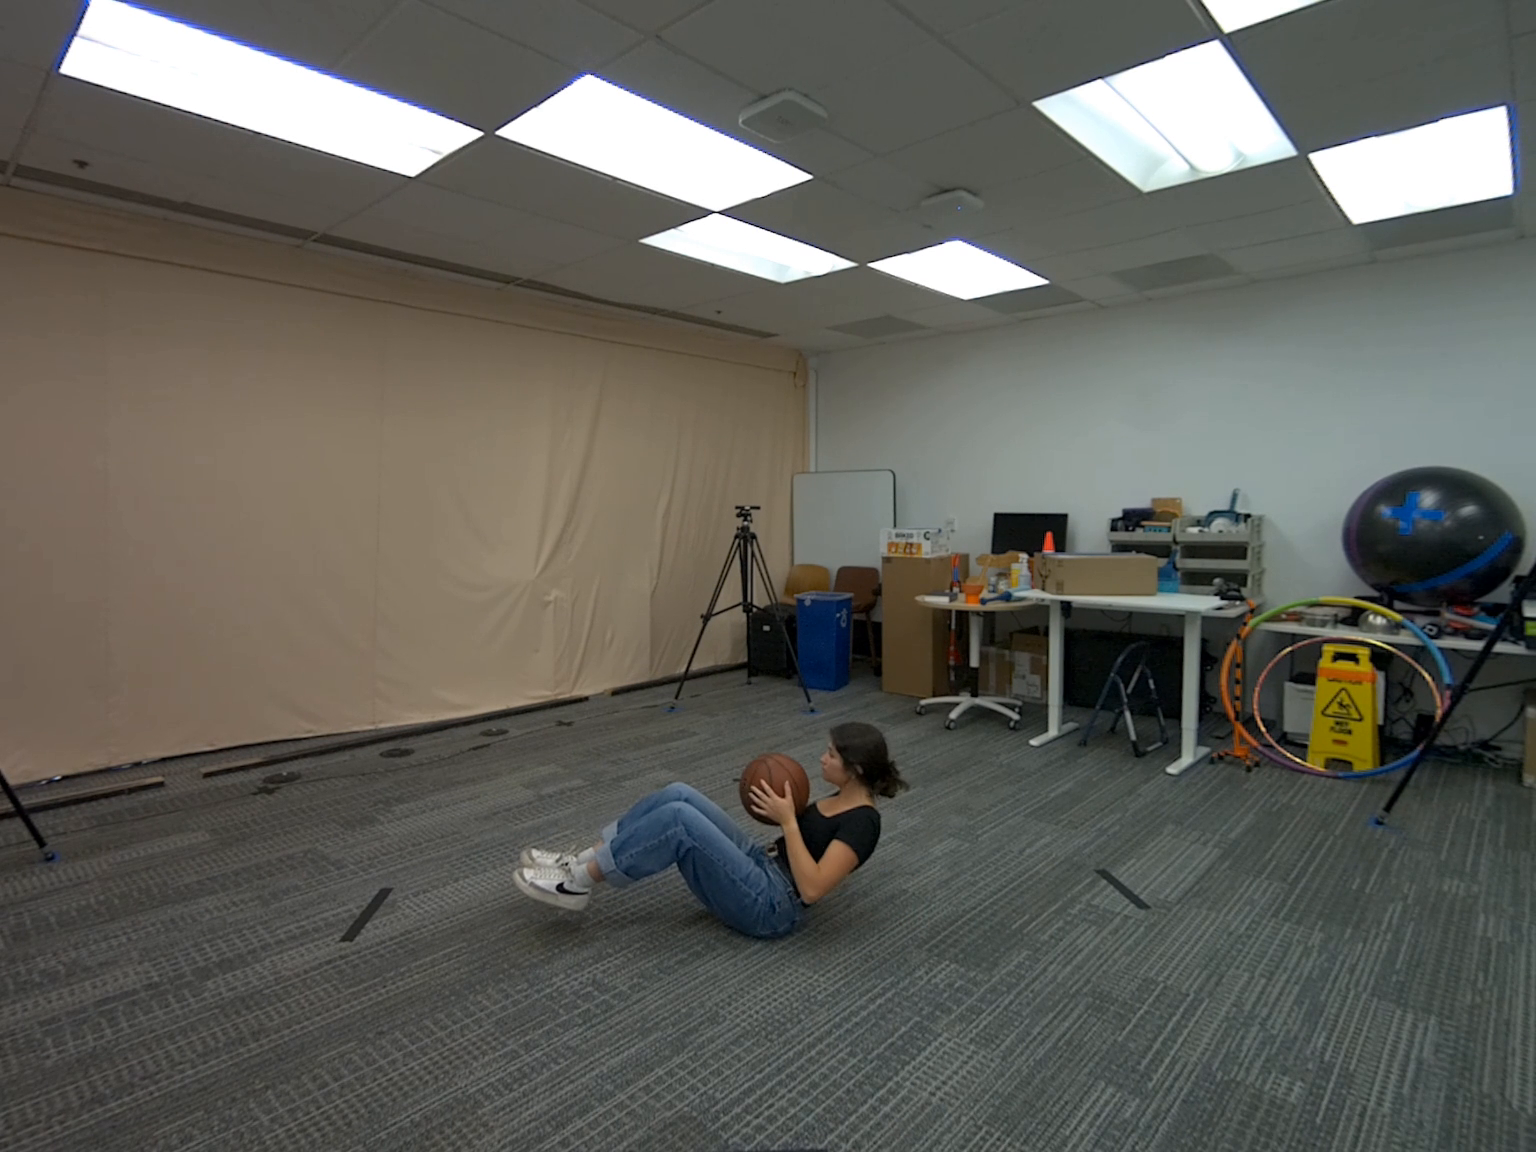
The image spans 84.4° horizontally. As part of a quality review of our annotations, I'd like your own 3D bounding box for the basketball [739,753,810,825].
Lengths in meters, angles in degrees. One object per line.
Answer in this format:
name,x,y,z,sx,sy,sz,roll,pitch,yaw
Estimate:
basketball,0.026,0.729,2.836,0.236,0.235,0.237,0,4,-2
